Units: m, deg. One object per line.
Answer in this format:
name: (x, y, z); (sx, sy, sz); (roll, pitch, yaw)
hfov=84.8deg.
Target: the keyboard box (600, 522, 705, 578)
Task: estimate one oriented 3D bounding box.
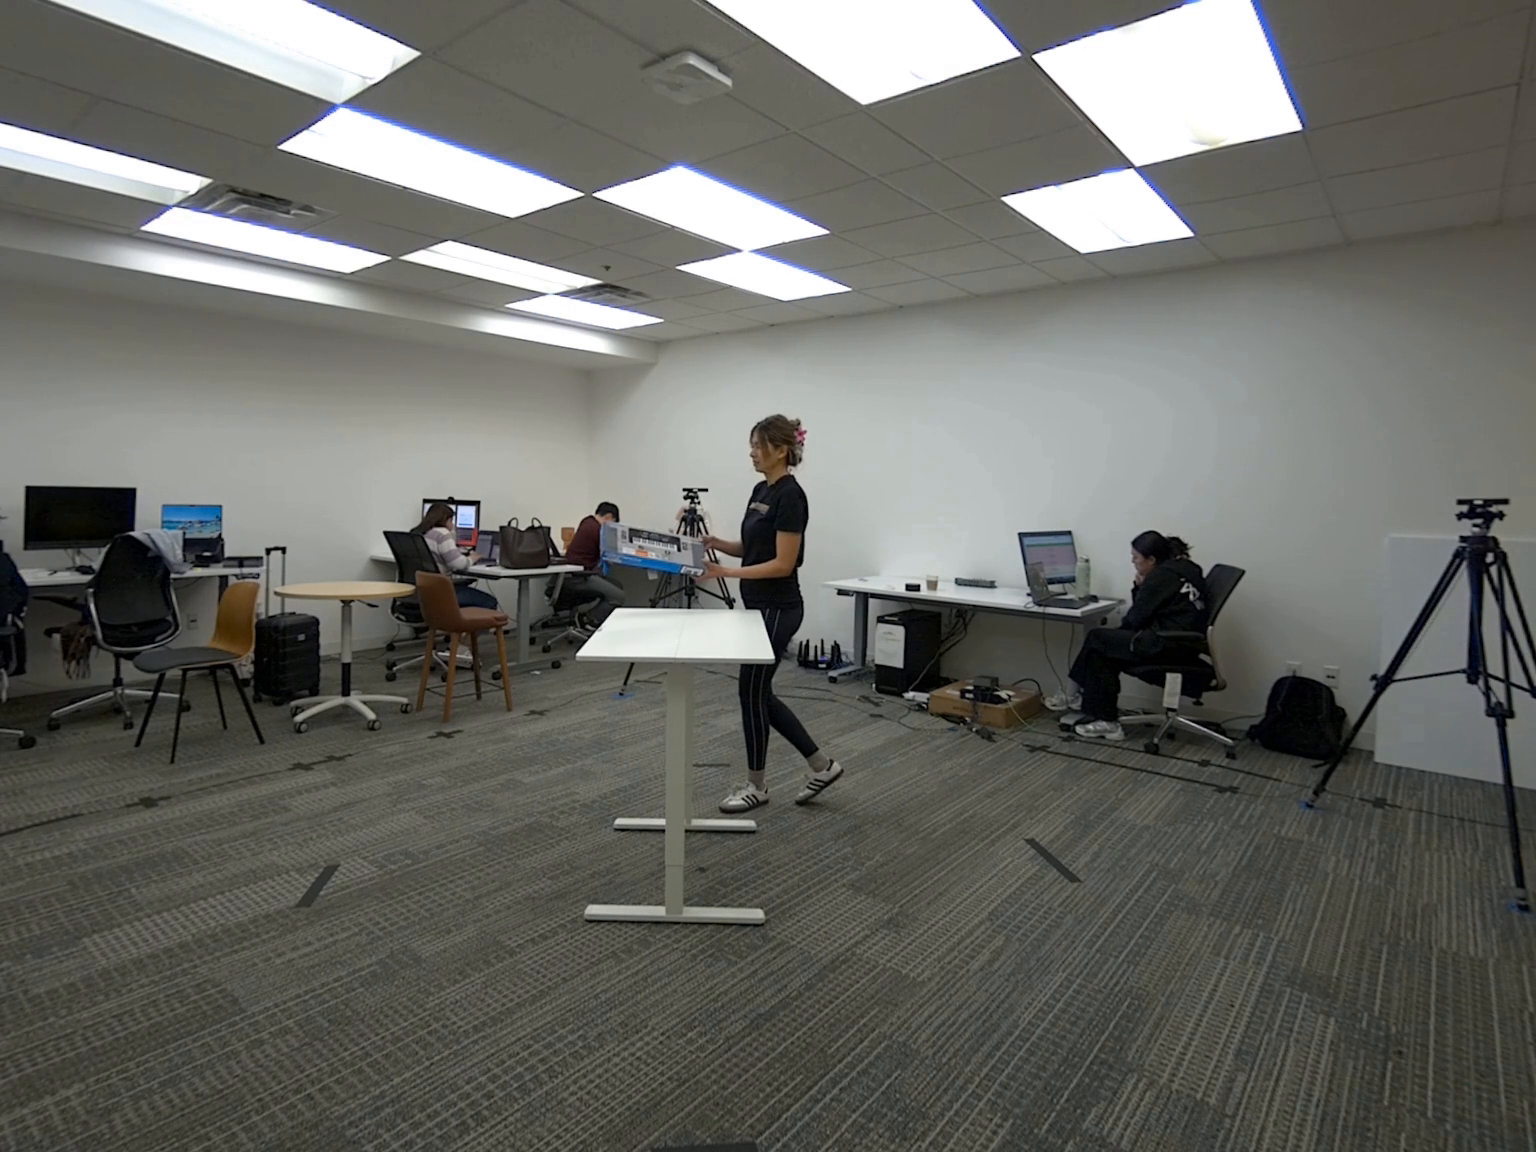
keyboard box: (-0.483, -0.113, 3.529); (0.427, 0.058, 0.182); (10, 43, -19)
